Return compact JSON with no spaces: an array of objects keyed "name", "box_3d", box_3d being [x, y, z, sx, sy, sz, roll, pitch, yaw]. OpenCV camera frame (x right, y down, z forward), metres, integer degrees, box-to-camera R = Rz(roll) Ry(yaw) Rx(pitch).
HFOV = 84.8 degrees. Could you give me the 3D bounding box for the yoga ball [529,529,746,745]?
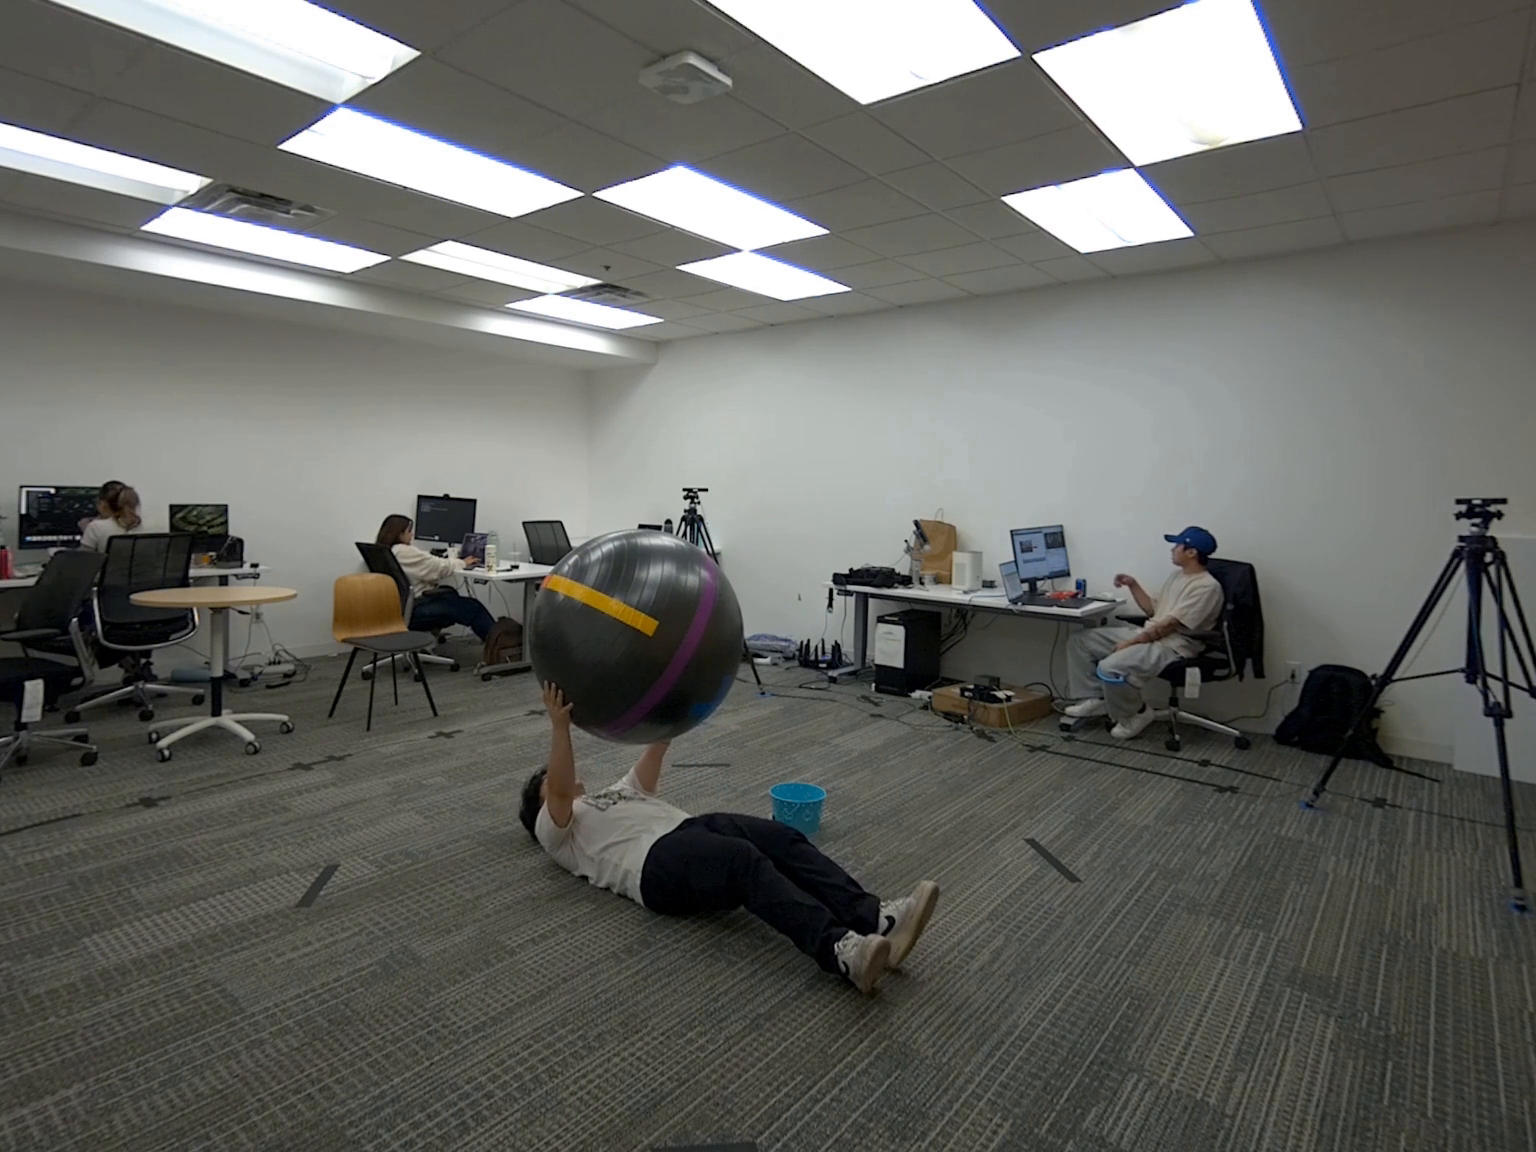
[{"name":"yoga ball","box_3d":[-0.475,0.211,3.024,0.757,0.756,0.761,1,4,-2]}]
